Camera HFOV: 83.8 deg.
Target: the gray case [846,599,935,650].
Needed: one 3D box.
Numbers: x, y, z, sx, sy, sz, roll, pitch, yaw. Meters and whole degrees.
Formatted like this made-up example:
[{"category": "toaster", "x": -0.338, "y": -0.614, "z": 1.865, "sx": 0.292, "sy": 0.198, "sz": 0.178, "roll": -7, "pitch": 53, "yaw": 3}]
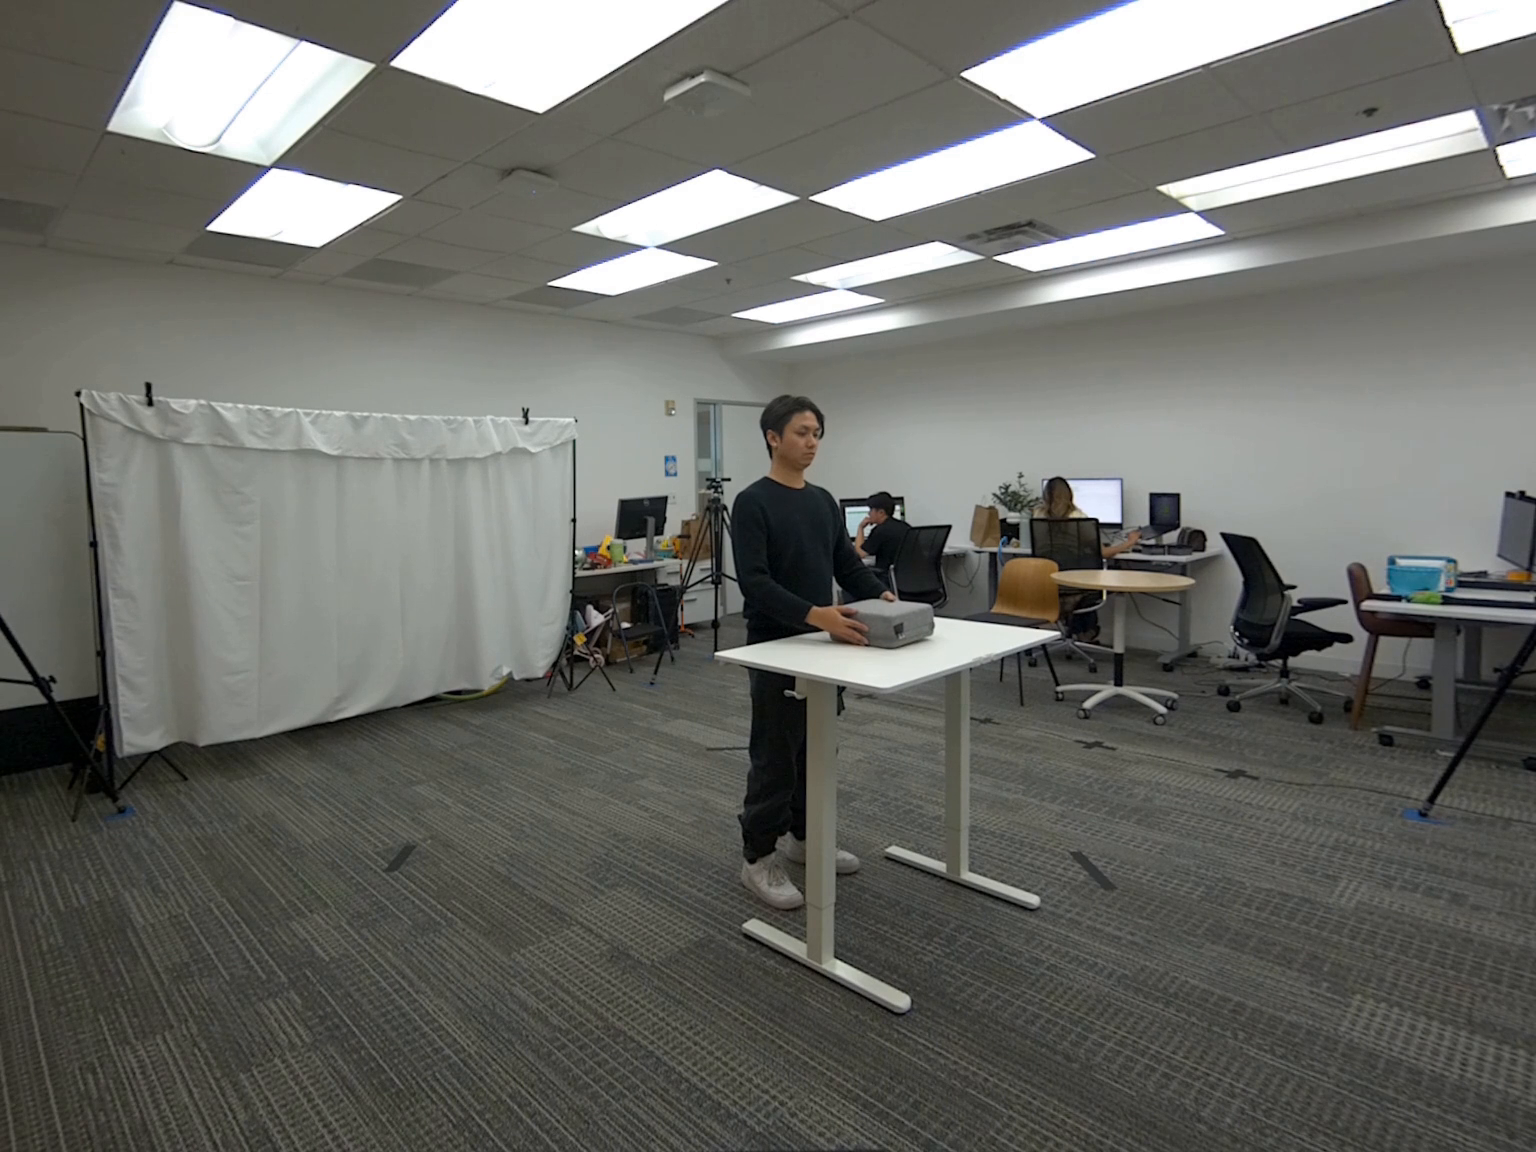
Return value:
[{"category": "gray case", "x": 0.358, "y": 0.147, "z": 2.679, "sx": 0.269, "sy": 0.103, "sz": 0.250, "roll": 6, "pitch": 11, "yaw": 45}]
